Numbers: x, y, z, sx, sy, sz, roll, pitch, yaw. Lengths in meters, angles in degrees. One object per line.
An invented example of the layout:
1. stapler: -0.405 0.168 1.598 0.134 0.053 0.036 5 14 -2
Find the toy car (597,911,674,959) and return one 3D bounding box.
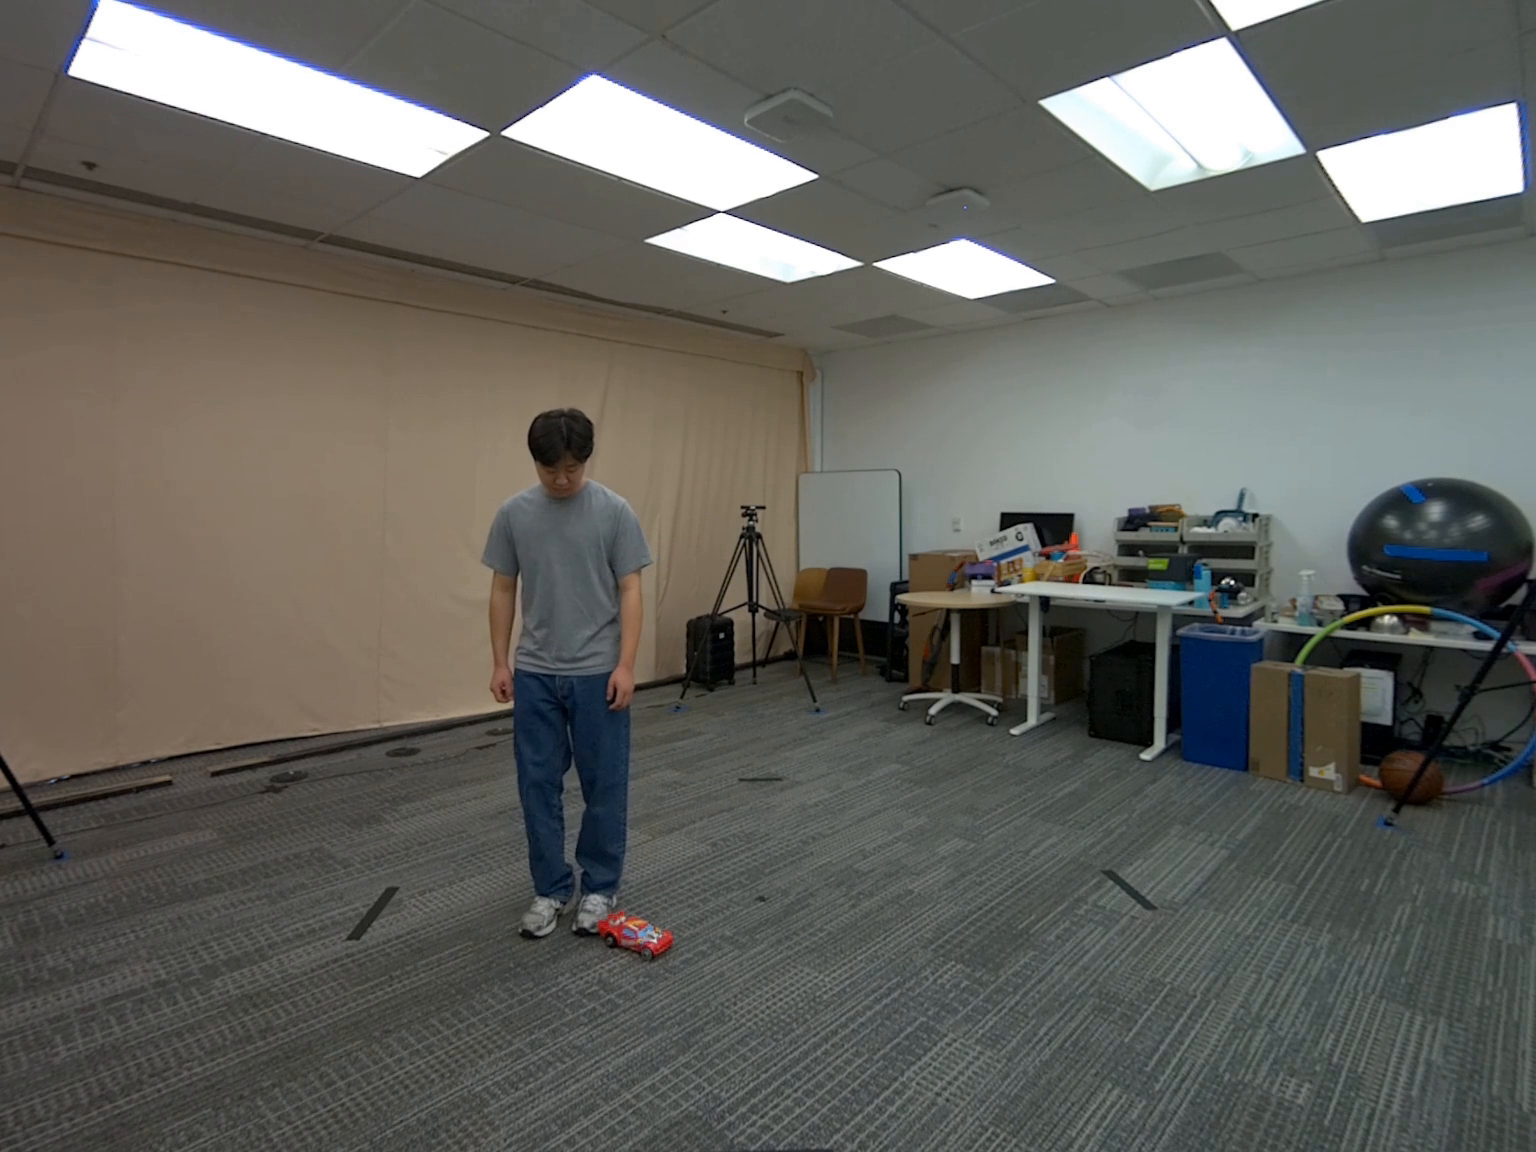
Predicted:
1. toy car: -0.429 1.140 2.667 0.263 0.083 0.127 14 11 30
